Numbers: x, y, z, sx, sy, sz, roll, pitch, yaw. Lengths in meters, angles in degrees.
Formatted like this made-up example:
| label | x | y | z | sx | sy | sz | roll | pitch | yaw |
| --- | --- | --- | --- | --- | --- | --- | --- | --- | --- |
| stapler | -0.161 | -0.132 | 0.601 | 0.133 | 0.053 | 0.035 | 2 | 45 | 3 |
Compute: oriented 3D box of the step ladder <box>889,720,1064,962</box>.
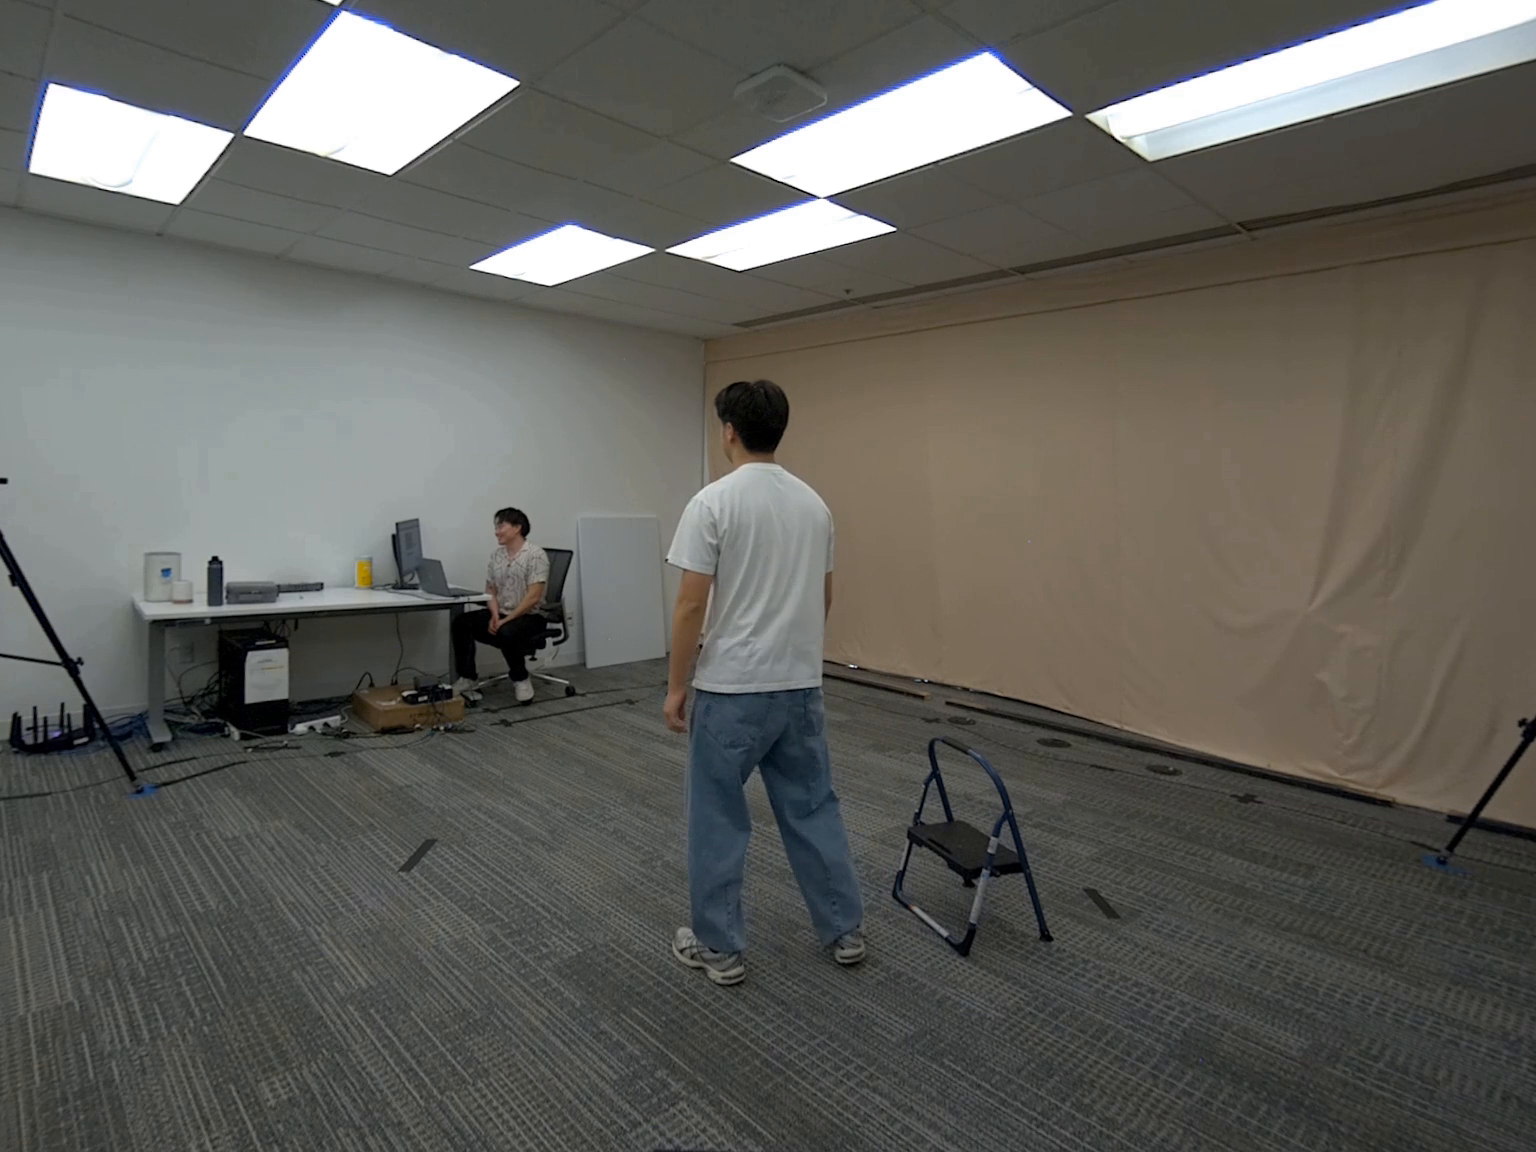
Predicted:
| label | x | y | z | sx | sy | sz | roll | pitch | yaw |
| --- | --- | --- | --- | --- | --- | --- | --- | --- | --- |
| step ladder | 0.680 | 0.847 | 2.825 | 0.343 | 0.605 | 0.439 | 0 | 3 | -23 |
